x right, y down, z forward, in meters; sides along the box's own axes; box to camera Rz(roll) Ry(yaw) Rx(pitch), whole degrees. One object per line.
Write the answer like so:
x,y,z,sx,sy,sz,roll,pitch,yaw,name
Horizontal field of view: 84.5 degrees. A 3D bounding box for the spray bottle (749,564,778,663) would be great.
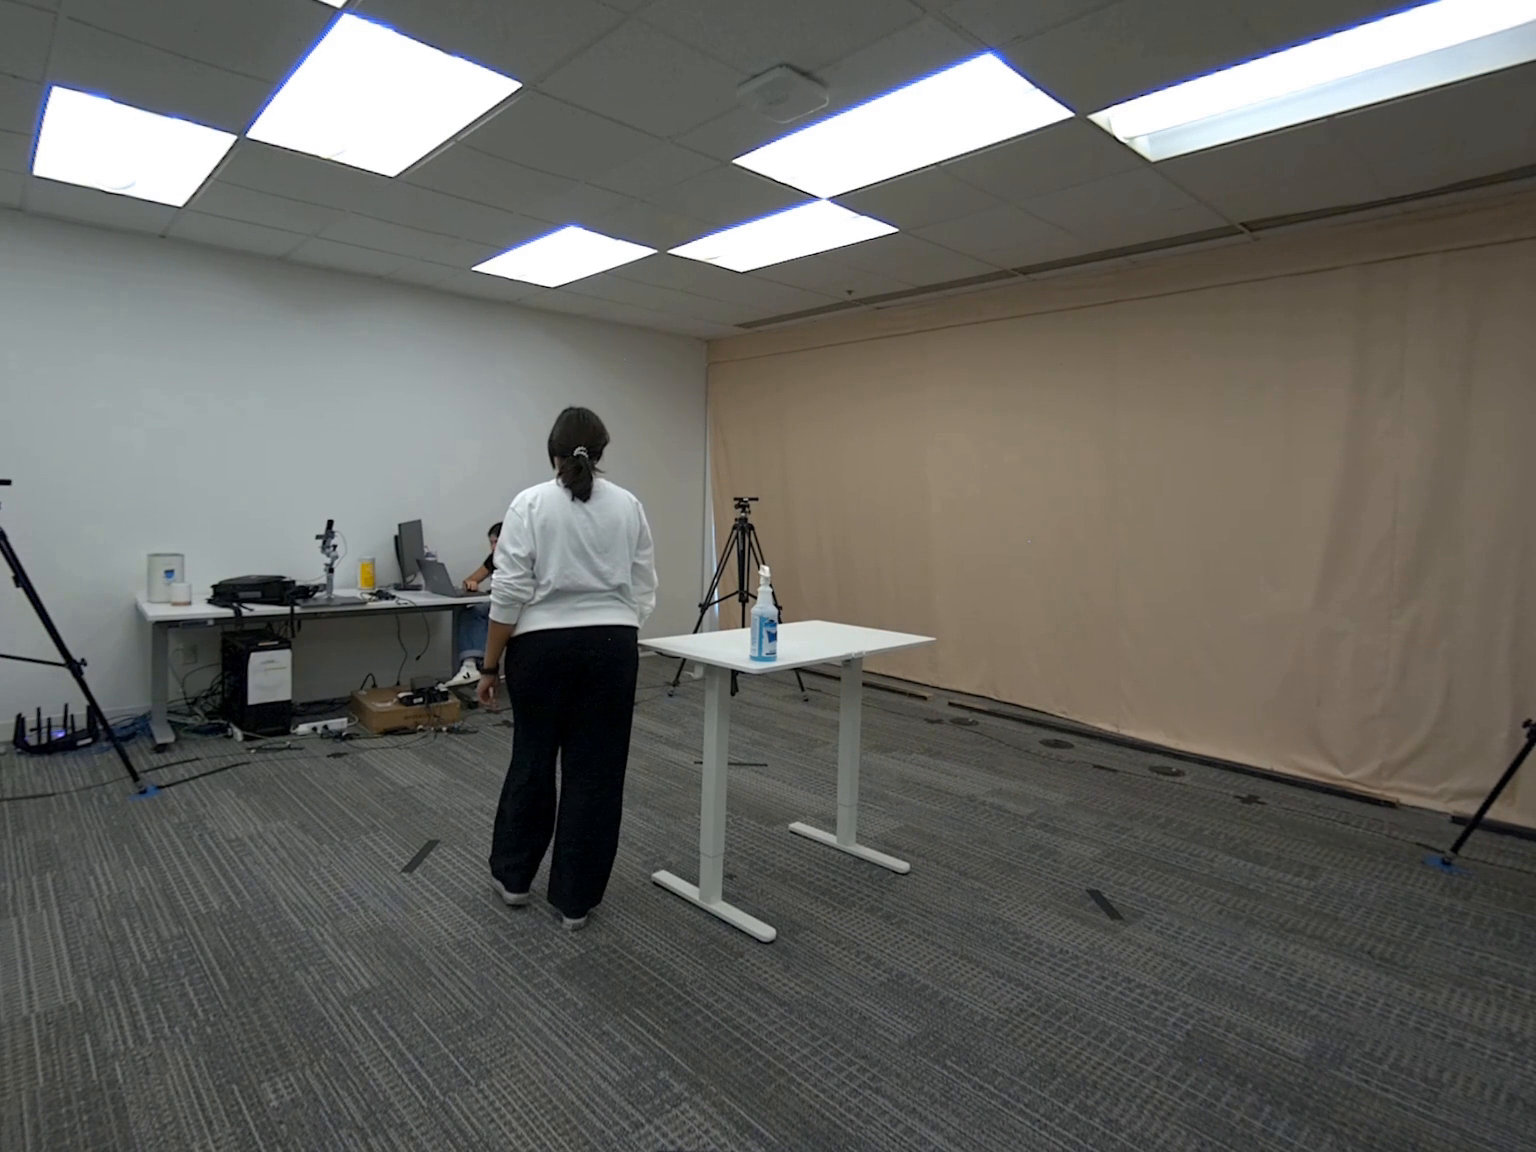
-0.015,0.120,2.650,0.088,0.296,0.089,3,5,16,spray bottle
